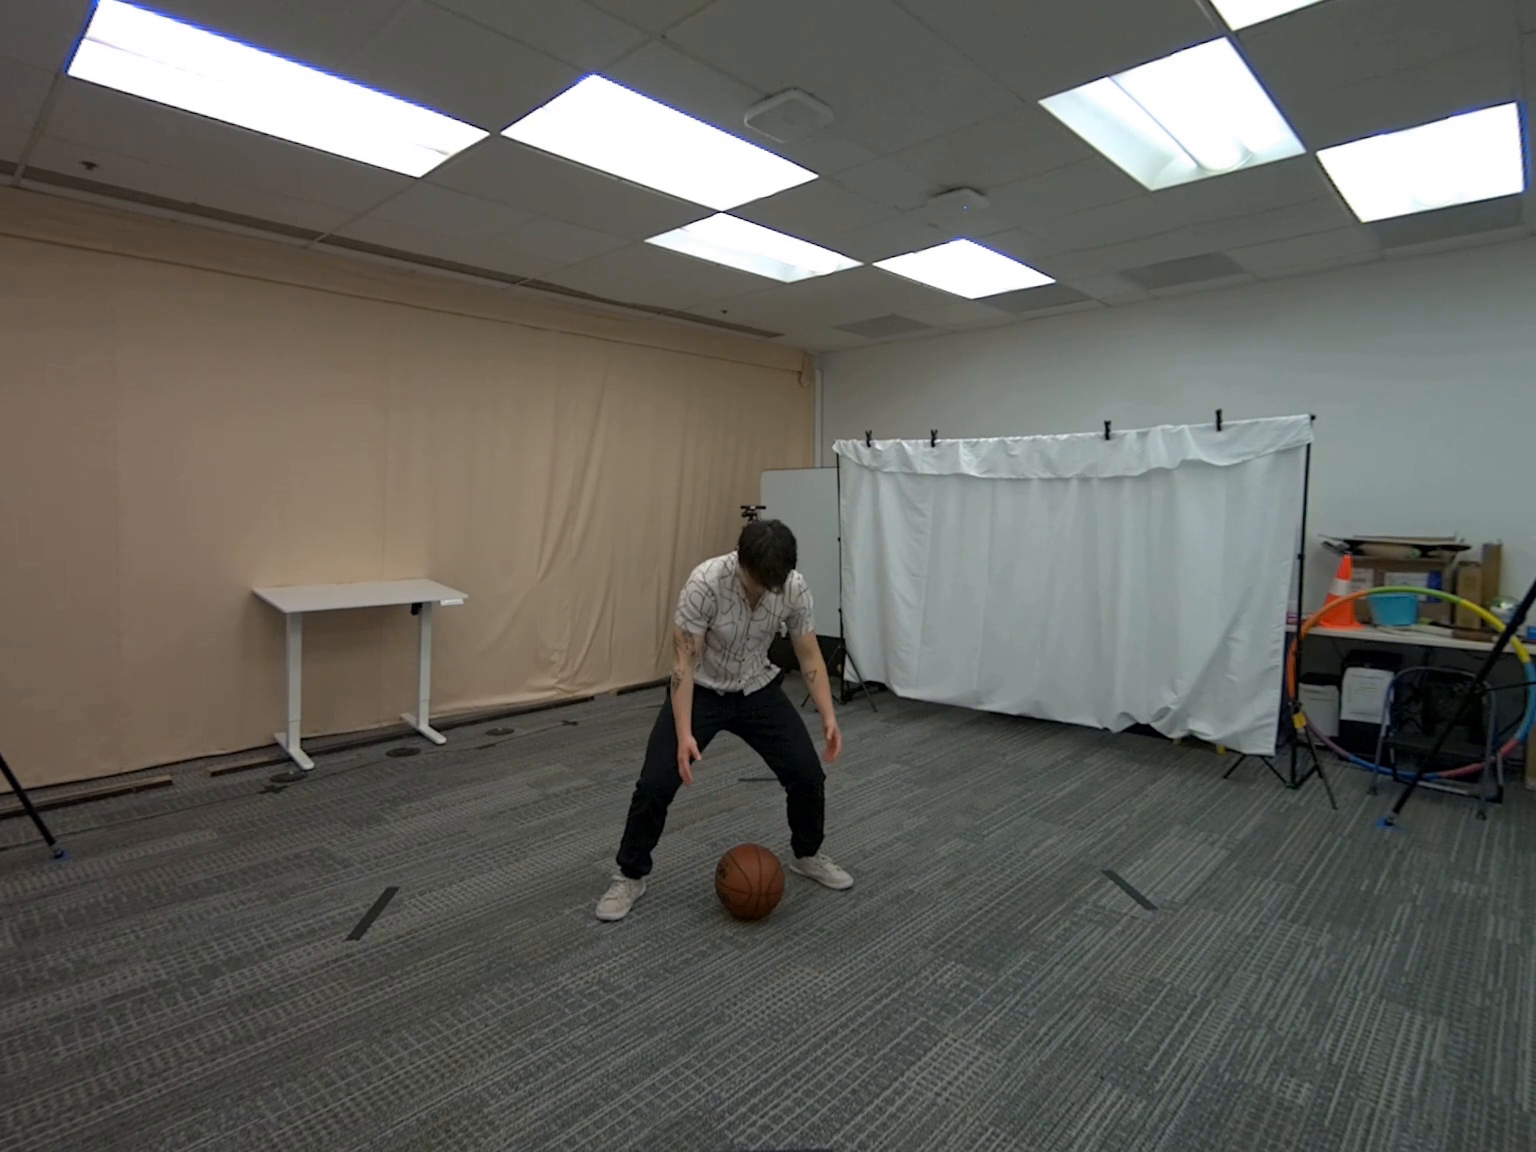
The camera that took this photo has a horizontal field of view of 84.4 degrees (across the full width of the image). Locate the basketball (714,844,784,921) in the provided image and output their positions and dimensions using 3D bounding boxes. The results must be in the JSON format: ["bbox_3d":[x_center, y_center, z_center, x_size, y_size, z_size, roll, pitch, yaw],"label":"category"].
[{"bbox_3d":[-0.054,1.033,2.859,0.236,0.235,0.237,0,4,-2],"label":"basketball"}]
